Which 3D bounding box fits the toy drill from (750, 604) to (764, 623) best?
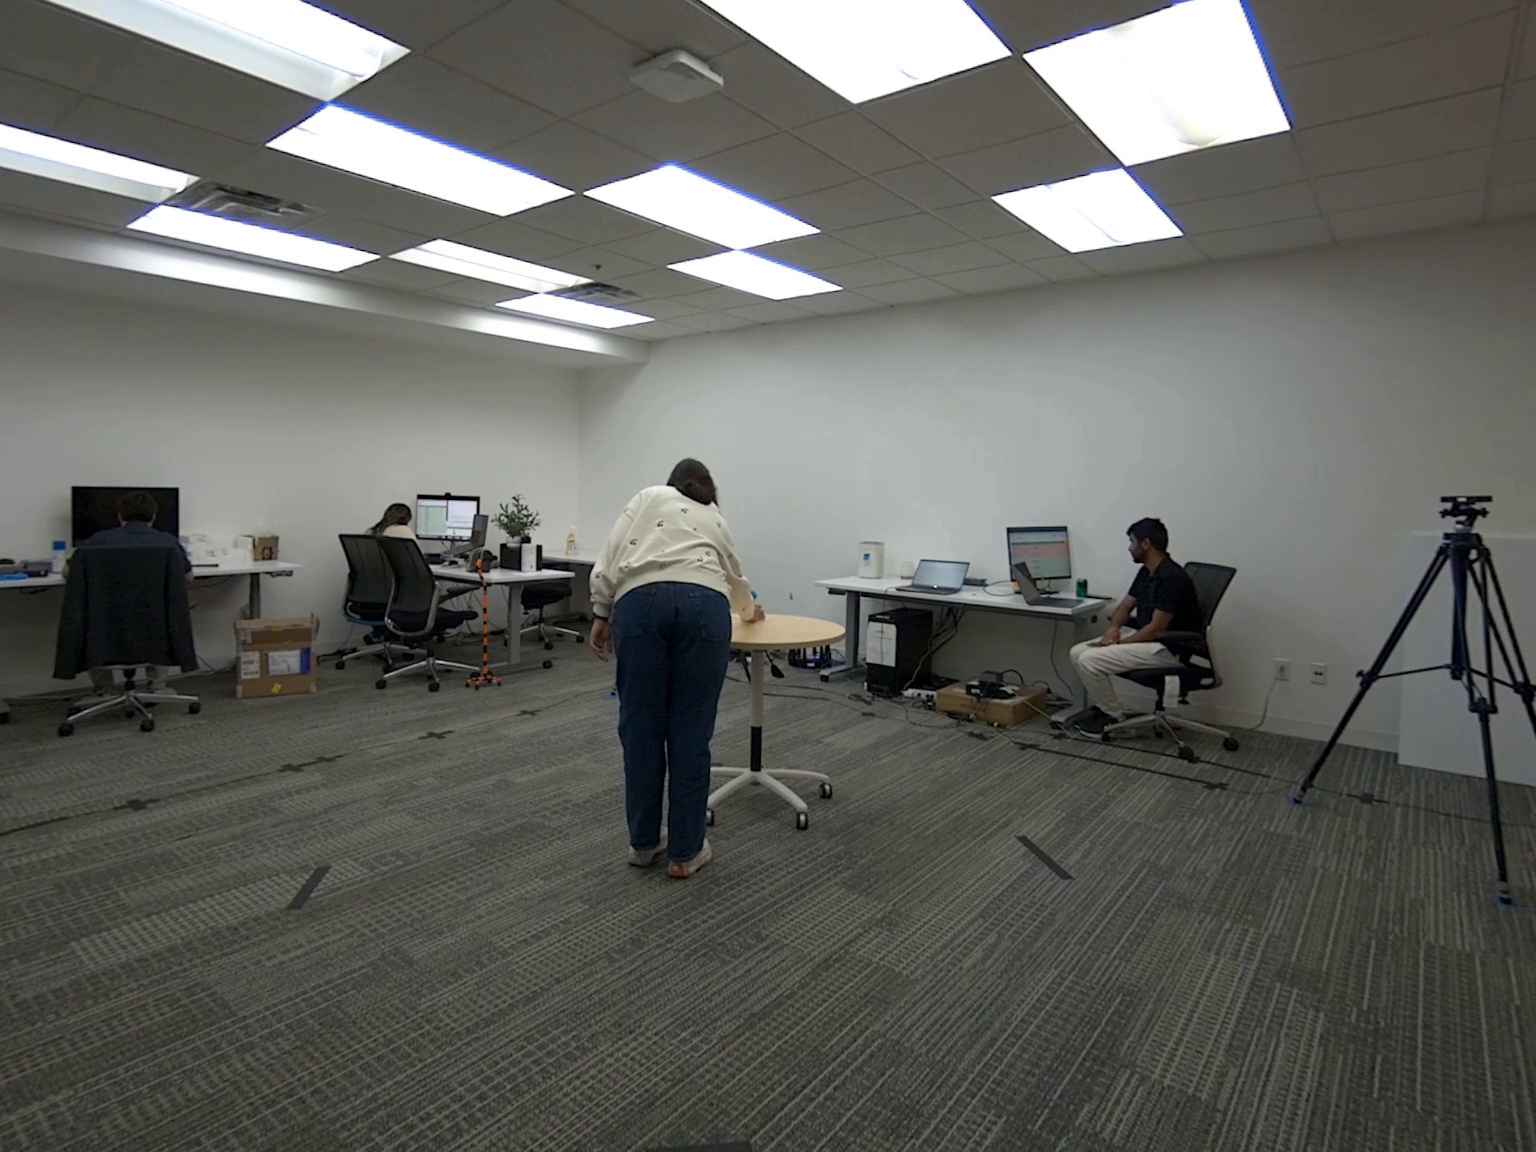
[{"bbox_3d":[-0.117,0.131,3.913,0.062,0.146,0.166,1,3,22],"label":"toy drill"}]
